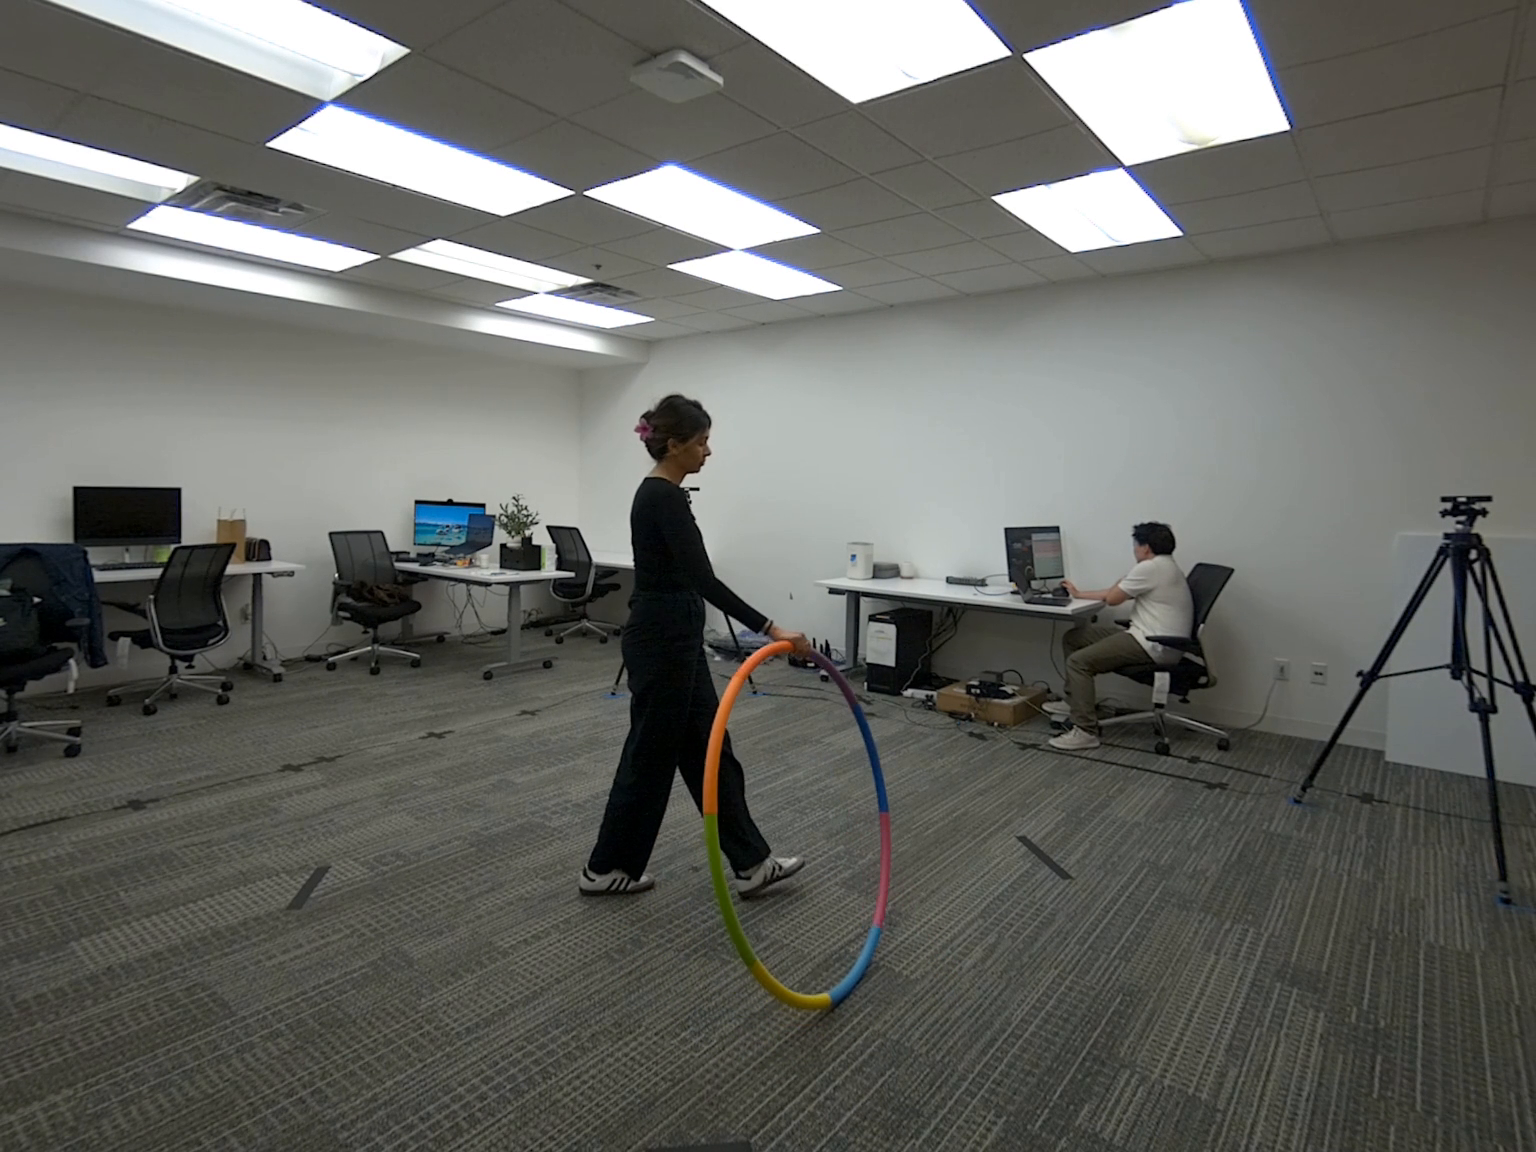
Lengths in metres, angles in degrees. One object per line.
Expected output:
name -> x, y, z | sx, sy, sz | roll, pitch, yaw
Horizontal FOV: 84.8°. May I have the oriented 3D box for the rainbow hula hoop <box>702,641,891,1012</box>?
rainbow hula hoop -> 0.122, 0.674, 2.427 | 0.036, 0.985, 0.952 | -16, -6, 31
